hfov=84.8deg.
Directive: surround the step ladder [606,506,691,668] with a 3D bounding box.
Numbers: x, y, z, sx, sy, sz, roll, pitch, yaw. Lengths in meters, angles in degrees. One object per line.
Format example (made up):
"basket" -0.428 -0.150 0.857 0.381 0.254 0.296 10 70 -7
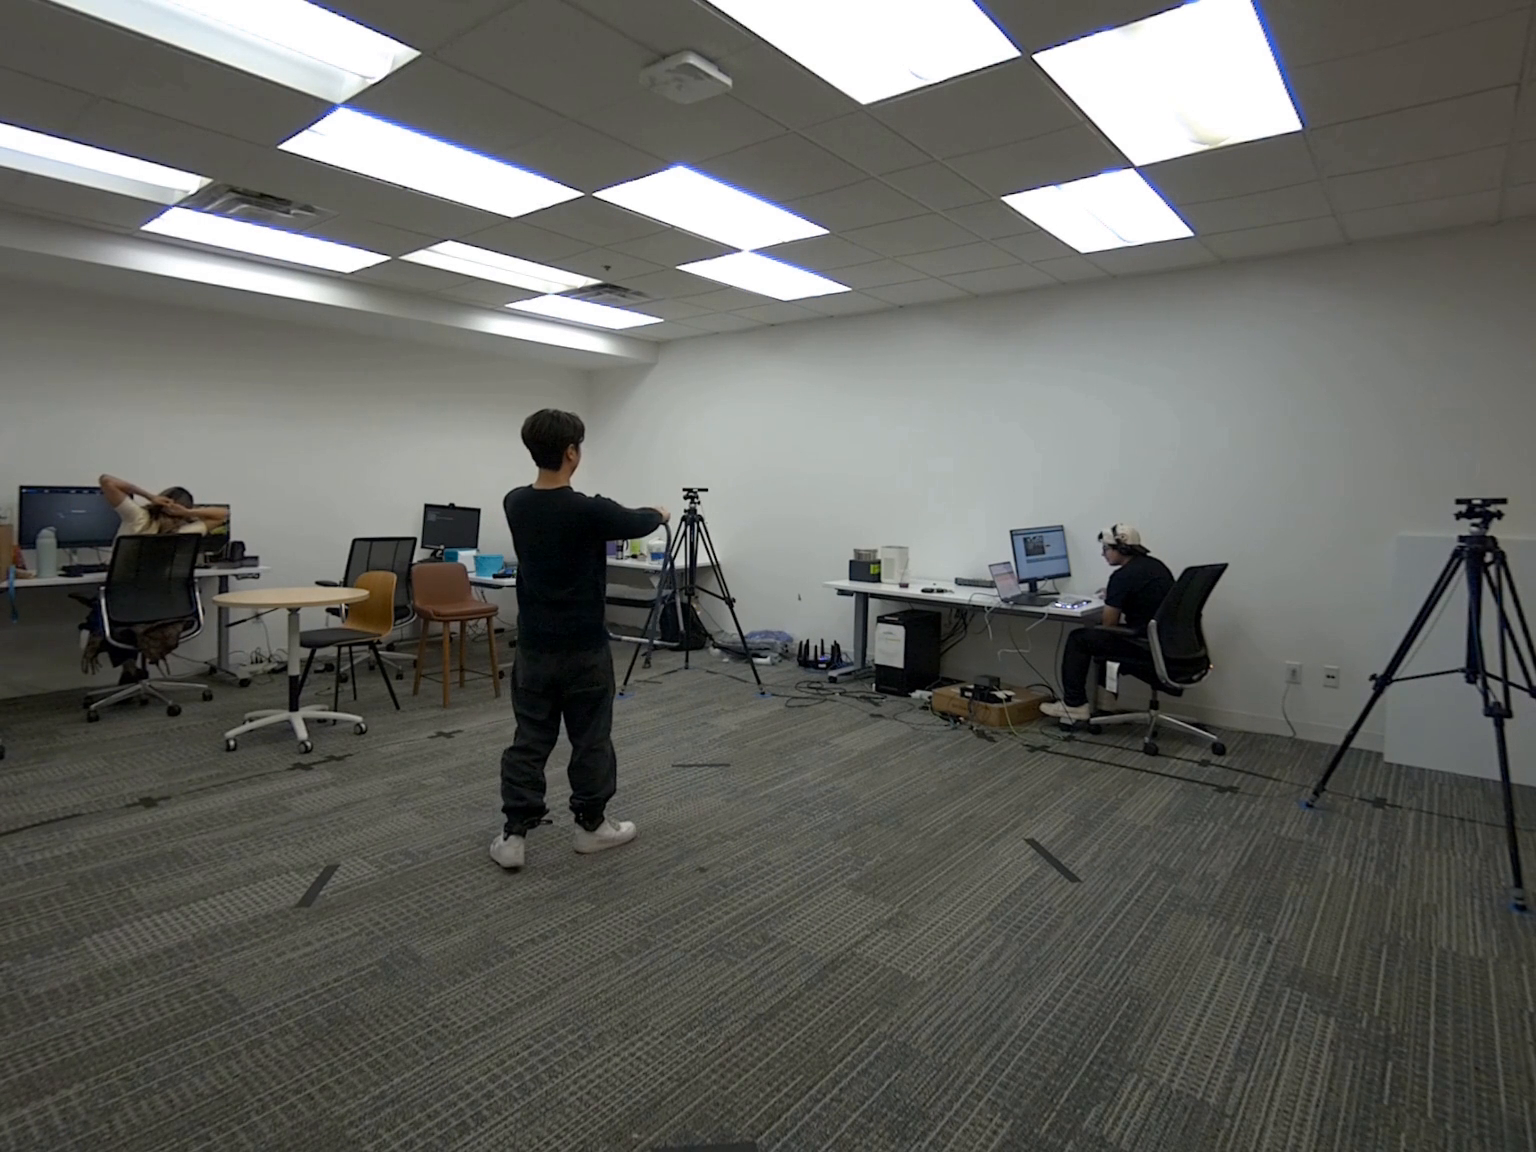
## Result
"step ladder" -0.609 0.022 3.598 0.442 0.602 0.343 4 8 24
